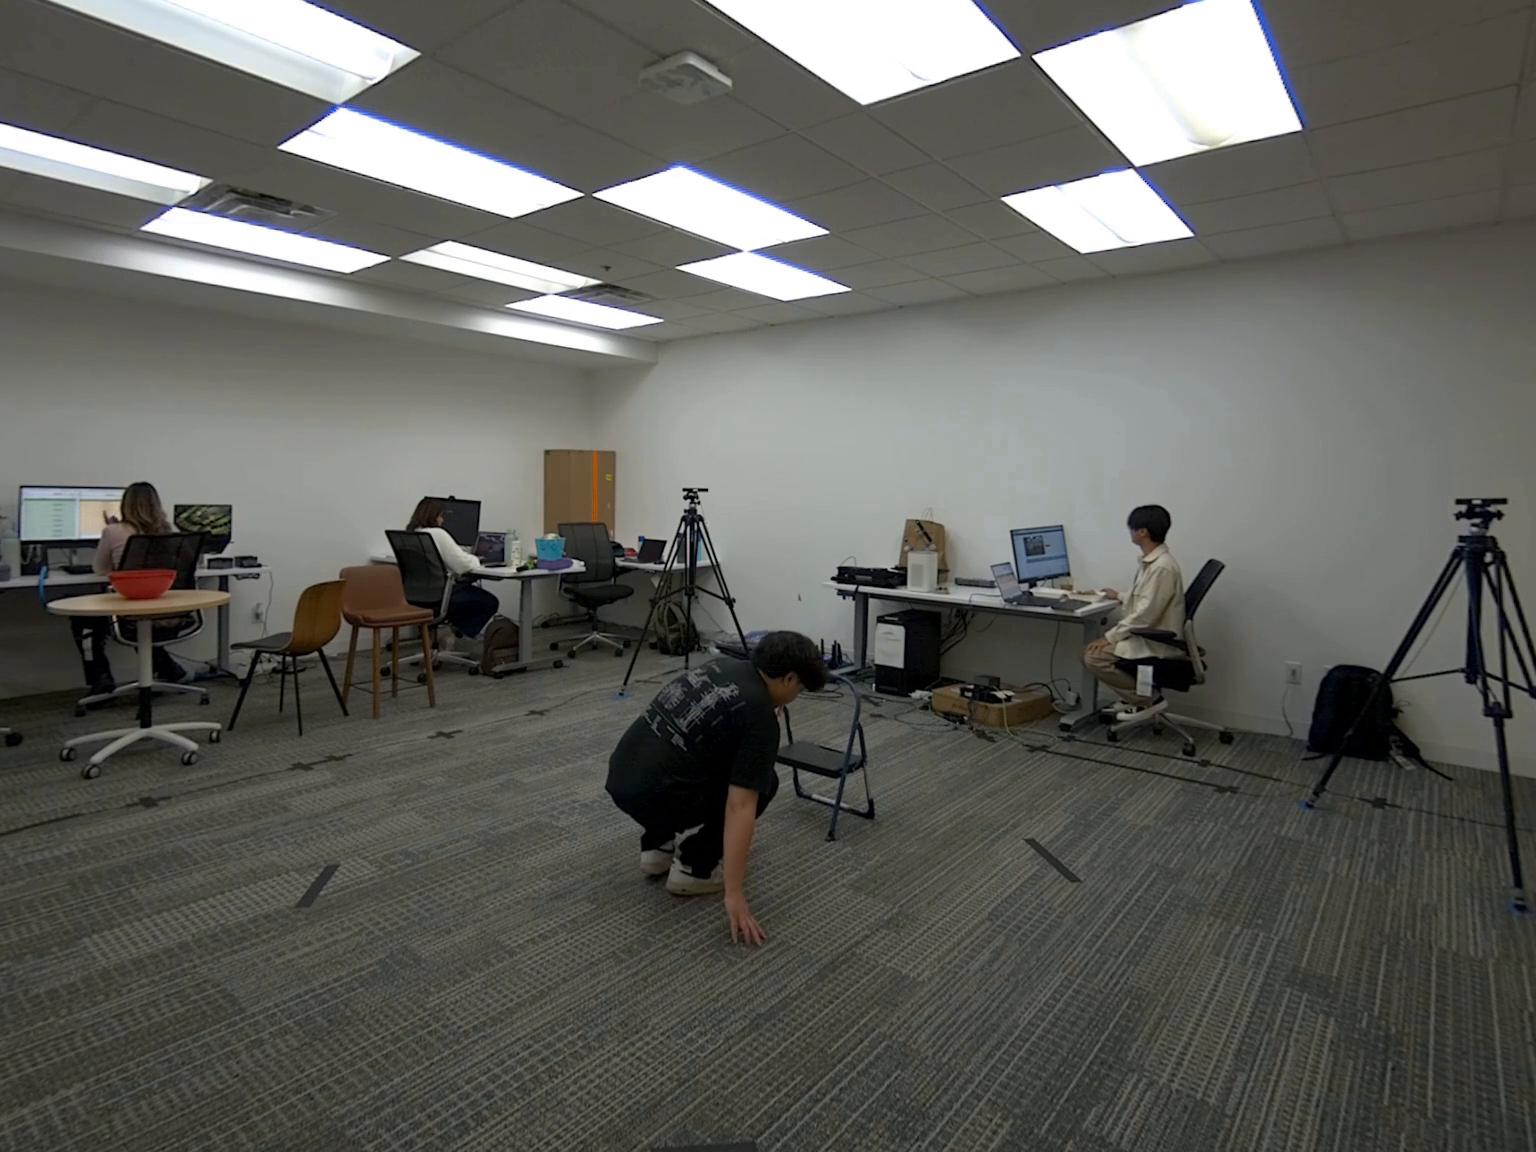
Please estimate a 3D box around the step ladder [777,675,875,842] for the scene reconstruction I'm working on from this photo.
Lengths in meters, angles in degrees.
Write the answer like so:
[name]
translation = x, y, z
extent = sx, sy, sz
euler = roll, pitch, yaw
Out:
[step ladder]
translation = 0.191, 0.724, 3.632
extent = 0.445, 0.604, 0.339
euler = 5, 5, 40
